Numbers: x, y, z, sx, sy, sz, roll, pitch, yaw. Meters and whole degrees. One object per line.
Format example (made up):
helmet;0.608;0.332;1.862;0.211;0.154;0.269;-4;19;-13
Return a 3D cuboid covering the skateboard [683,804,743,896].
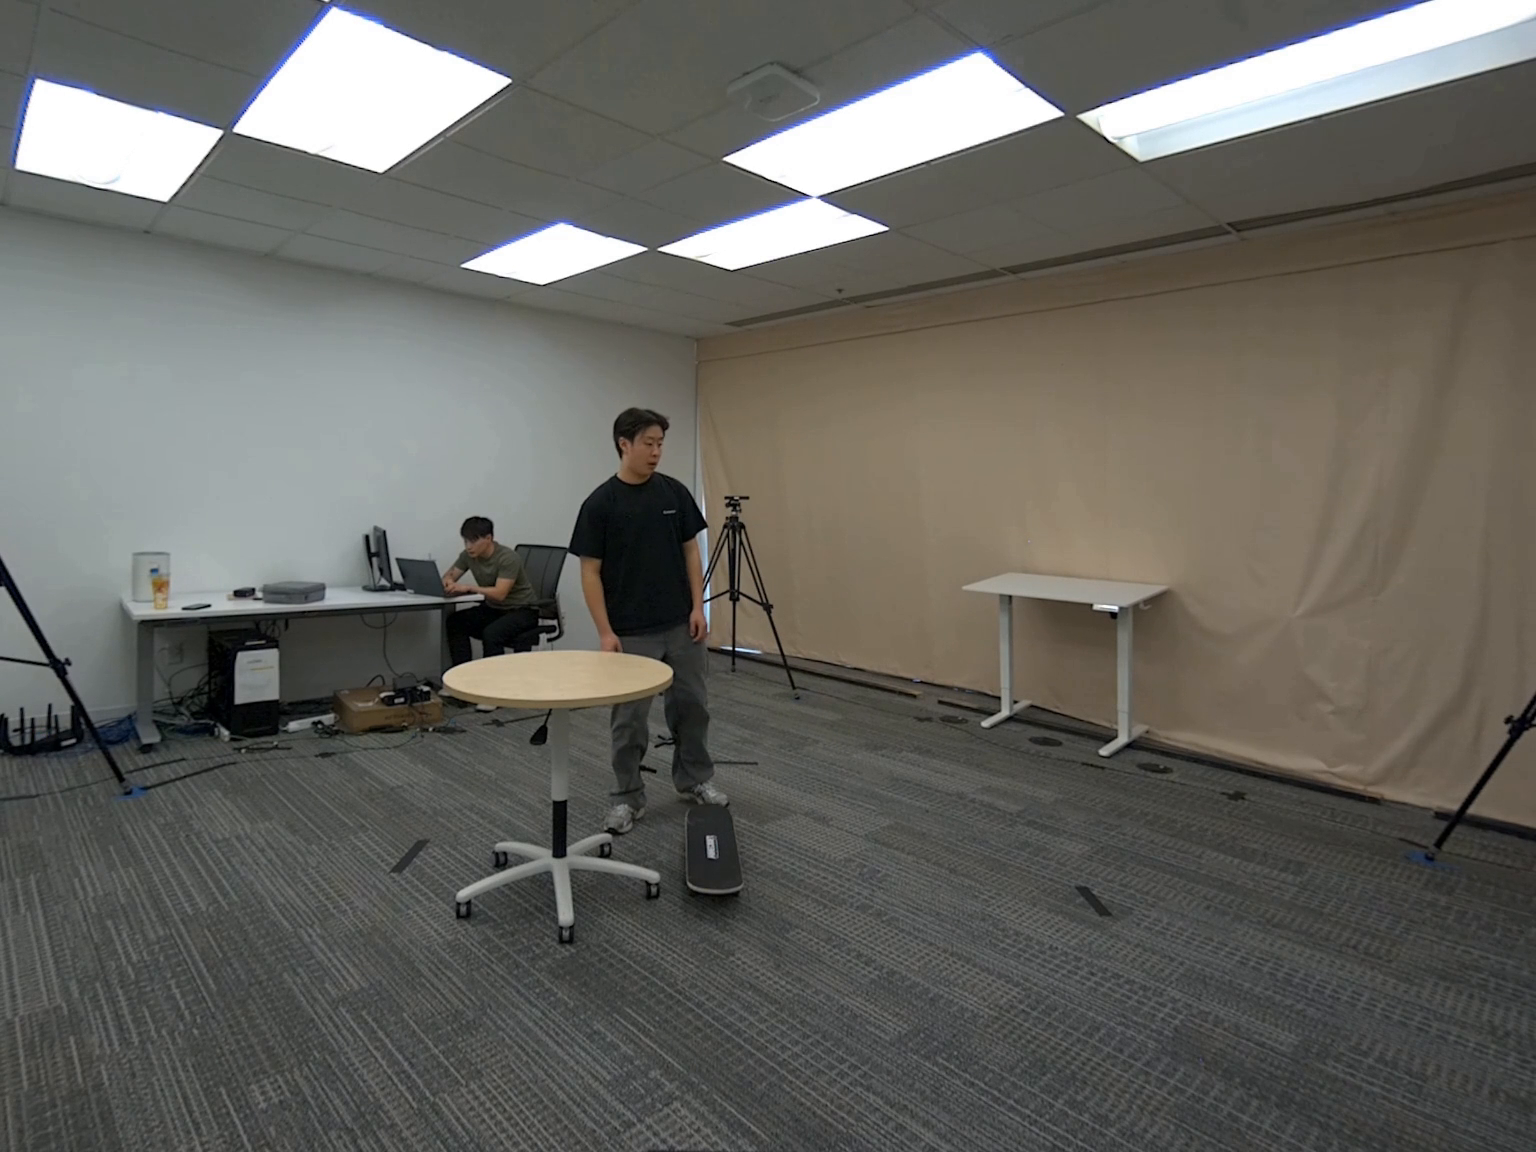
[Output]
skateboard;-0.224;1.043;3.143;0.192;0.110;0.791;1;6;-6
